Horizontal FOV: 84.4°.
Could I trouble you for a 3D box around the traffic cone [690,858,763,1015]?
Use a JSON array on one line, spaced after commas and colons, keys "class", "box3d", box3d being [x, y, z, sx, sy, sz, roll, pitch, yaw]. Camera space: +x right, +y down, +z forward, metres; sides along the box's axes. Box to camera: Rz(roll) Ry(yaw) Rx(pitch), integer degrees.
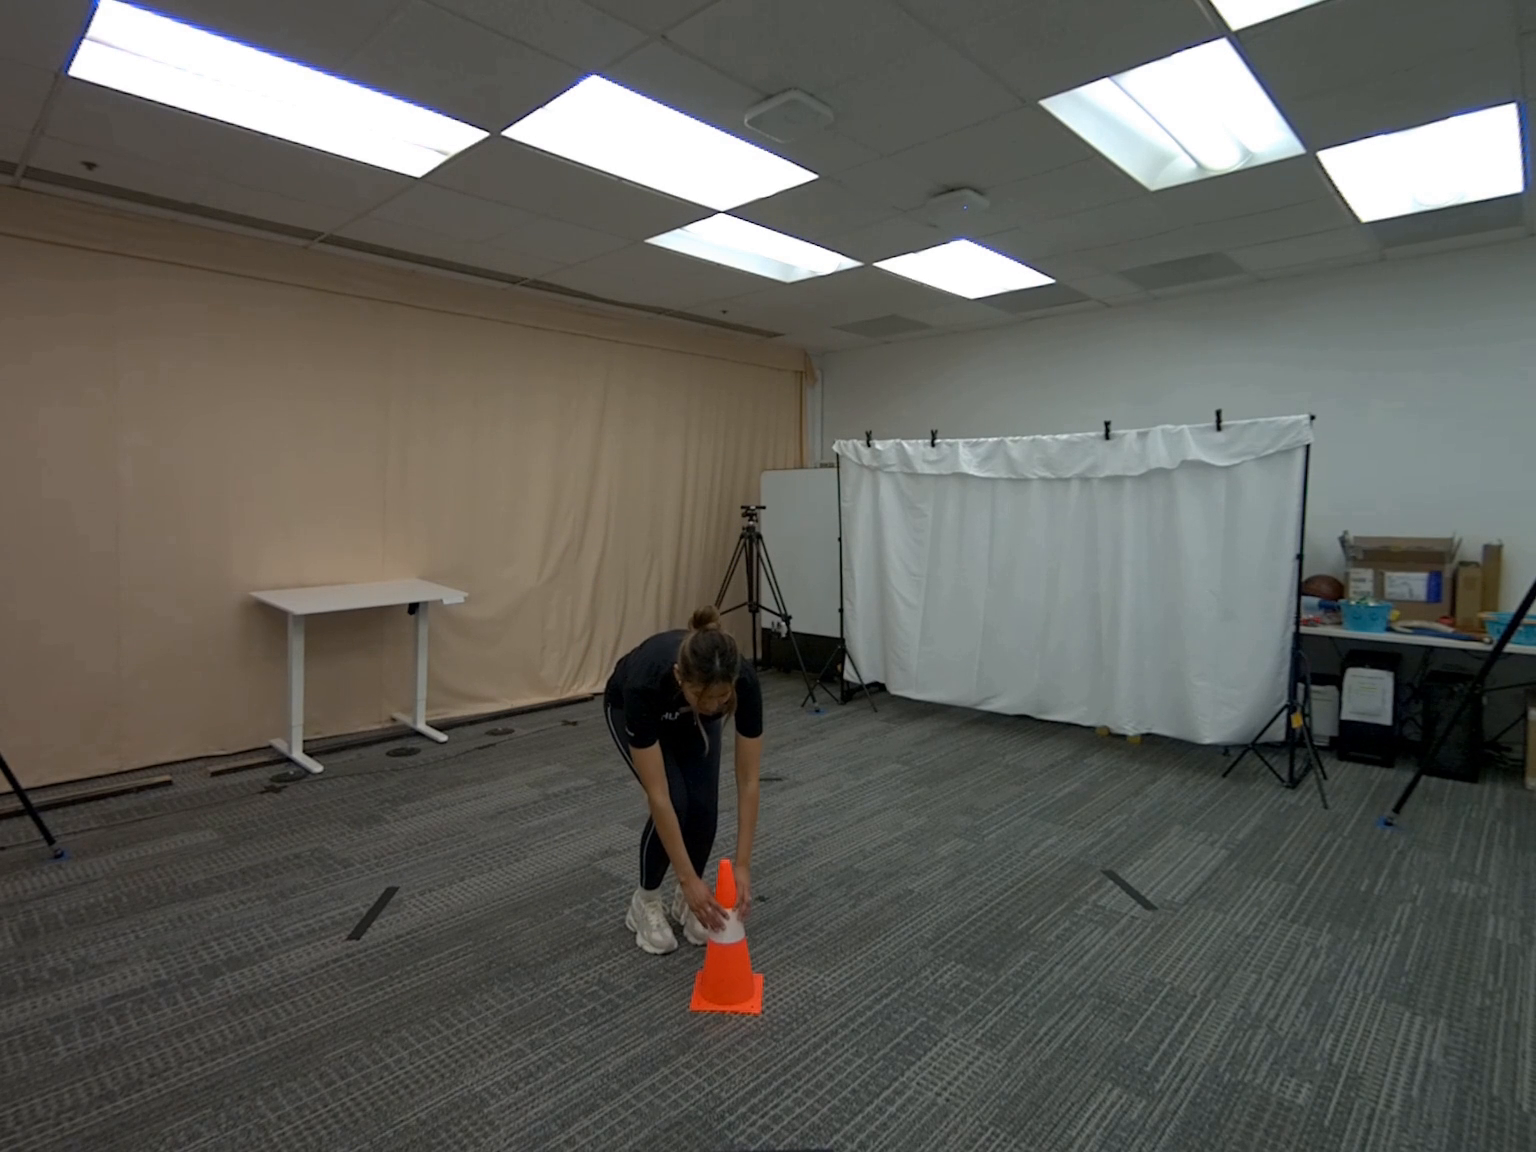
[{"class": "traffic cone", "box3d": [-0.120, 1.003, 2.408, 0.206, 0.384, 0.202, -1, 0, 6]}]
